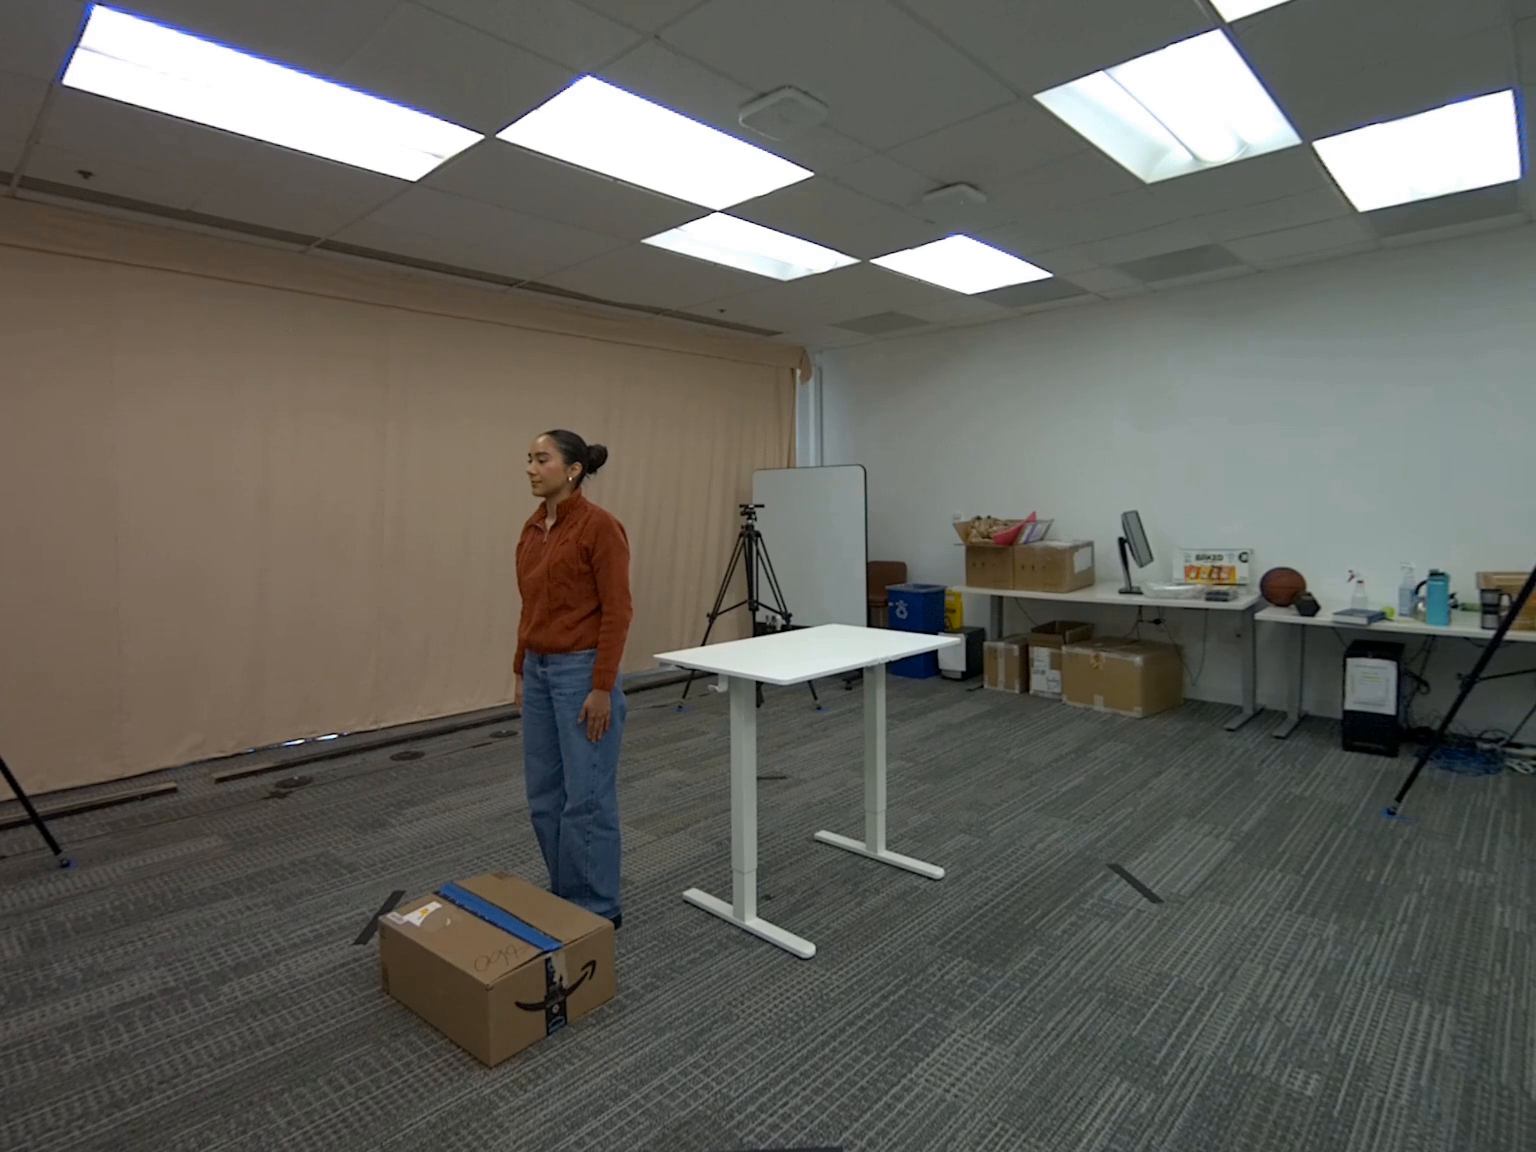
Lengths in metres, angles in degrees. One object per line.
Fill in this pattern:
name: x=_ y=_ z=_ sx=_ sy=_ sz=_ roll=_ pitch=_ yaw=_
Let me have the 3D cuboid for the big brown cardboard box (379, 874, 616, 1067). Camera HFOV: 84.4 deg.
big brown cardboard box: x=-0.789 y=1.092 z=2.426 sx=0.608 sy=0.232 sz=0.405 roll=4 pitch=6 yaw=39
